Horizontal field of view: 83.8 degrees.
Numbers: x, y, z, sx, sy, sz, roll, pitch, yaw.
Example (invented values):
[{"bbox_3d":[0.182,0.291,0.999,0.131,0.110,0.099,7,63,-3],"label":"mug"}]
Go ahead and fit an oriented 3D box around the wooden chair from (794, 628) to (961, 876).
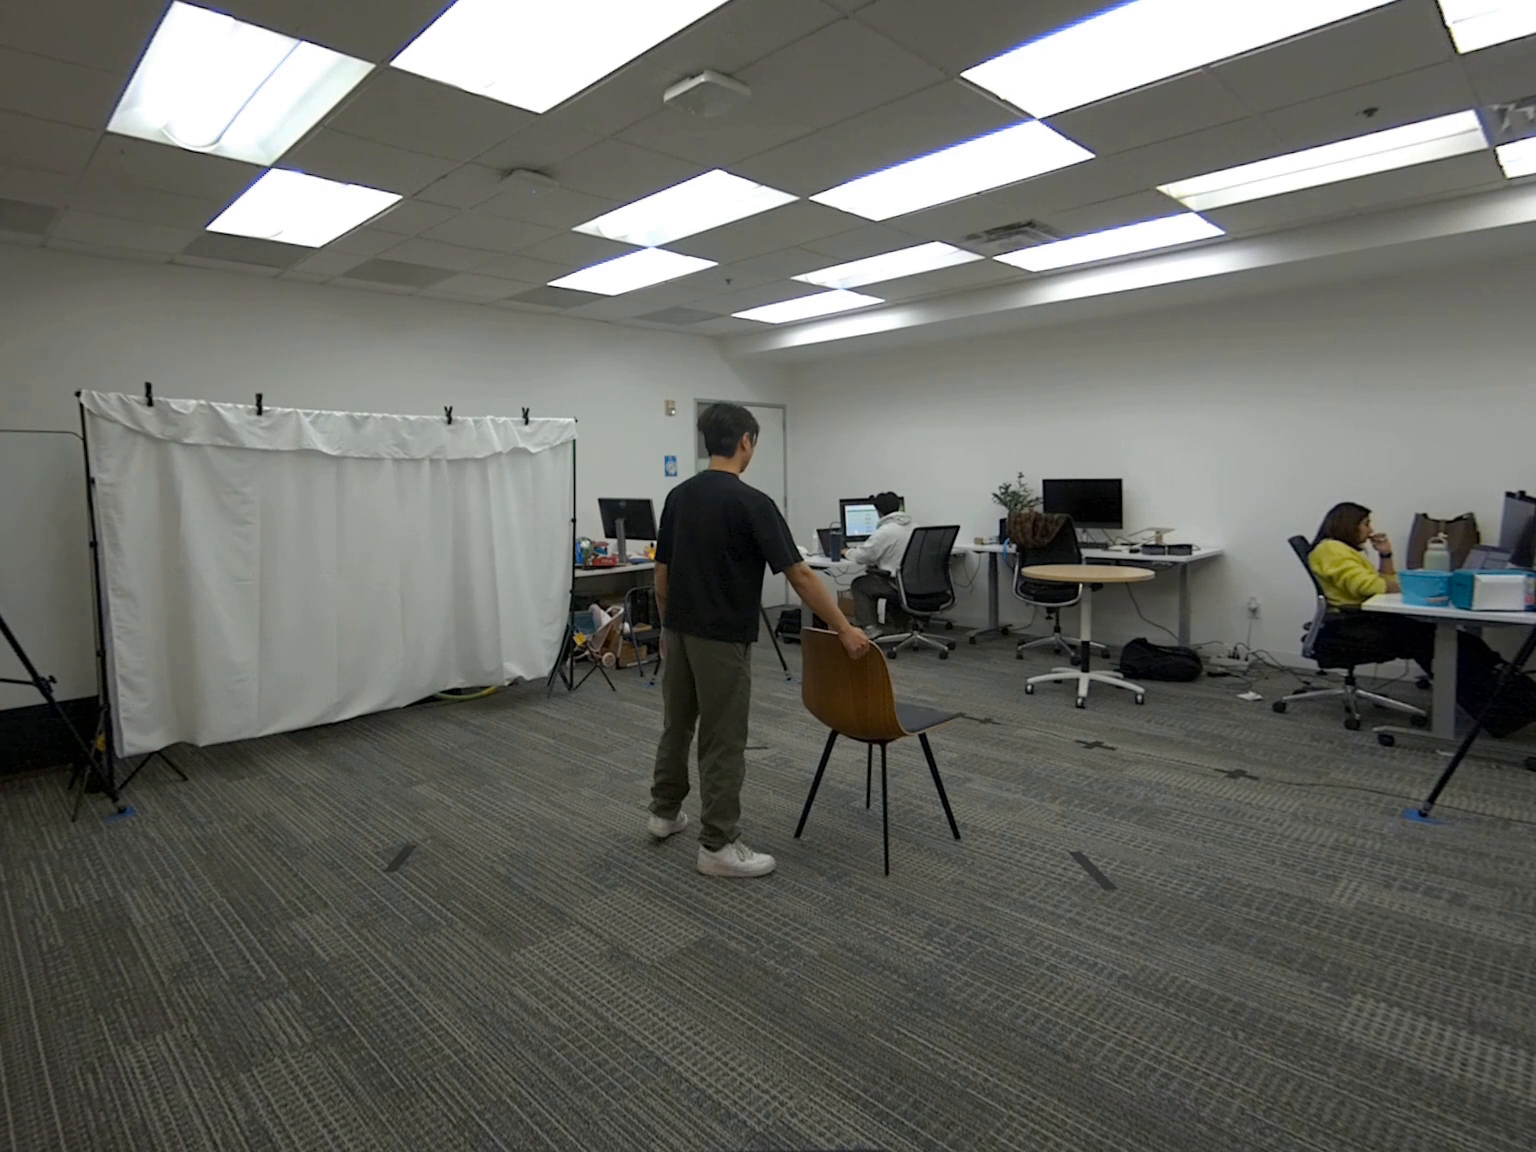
[{"bbox_3d":[0.420,0.585,3.268,0.511,0.871,0.493,-11,10,-43],"label":"wooden chair"}]
